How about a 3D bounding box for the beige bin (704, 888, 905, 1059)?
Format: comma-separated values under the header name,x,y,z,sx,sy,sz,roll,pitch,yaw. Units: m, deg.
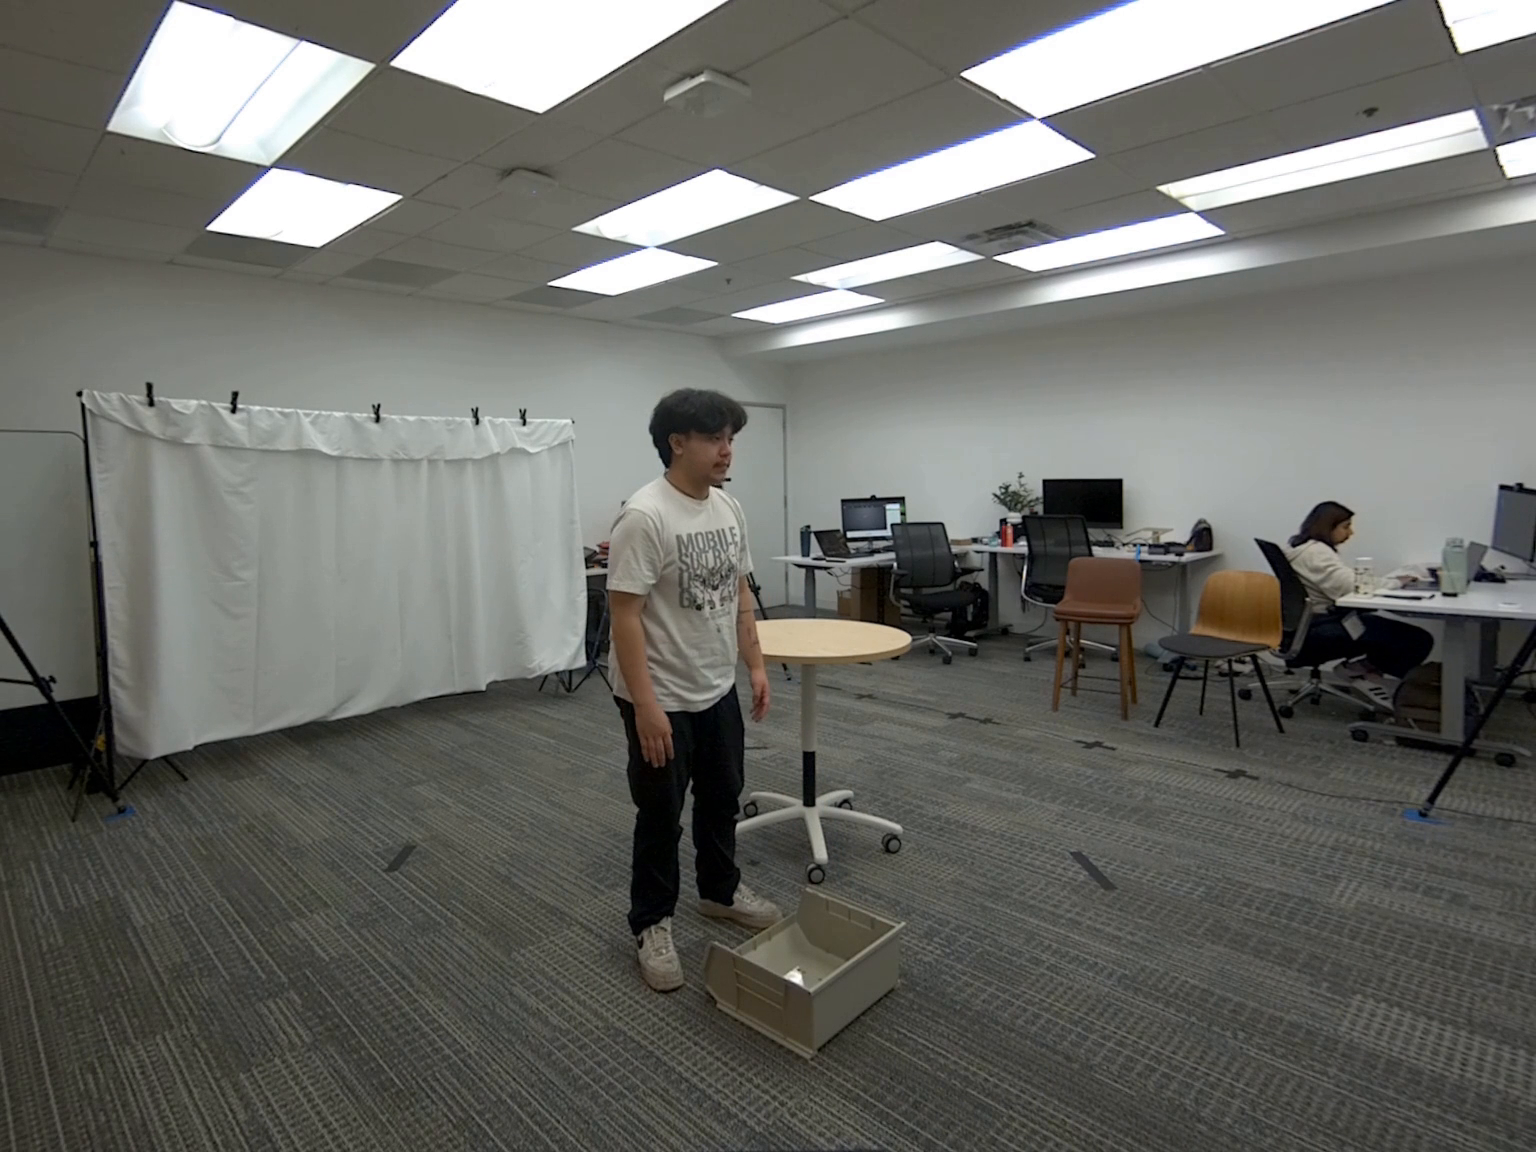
name,x,y,z,sx,sy,sz,roll,pitch,yaw
beige bin,0.106,1.049,2.305,0.389,0.188,0.411,5,8,41
